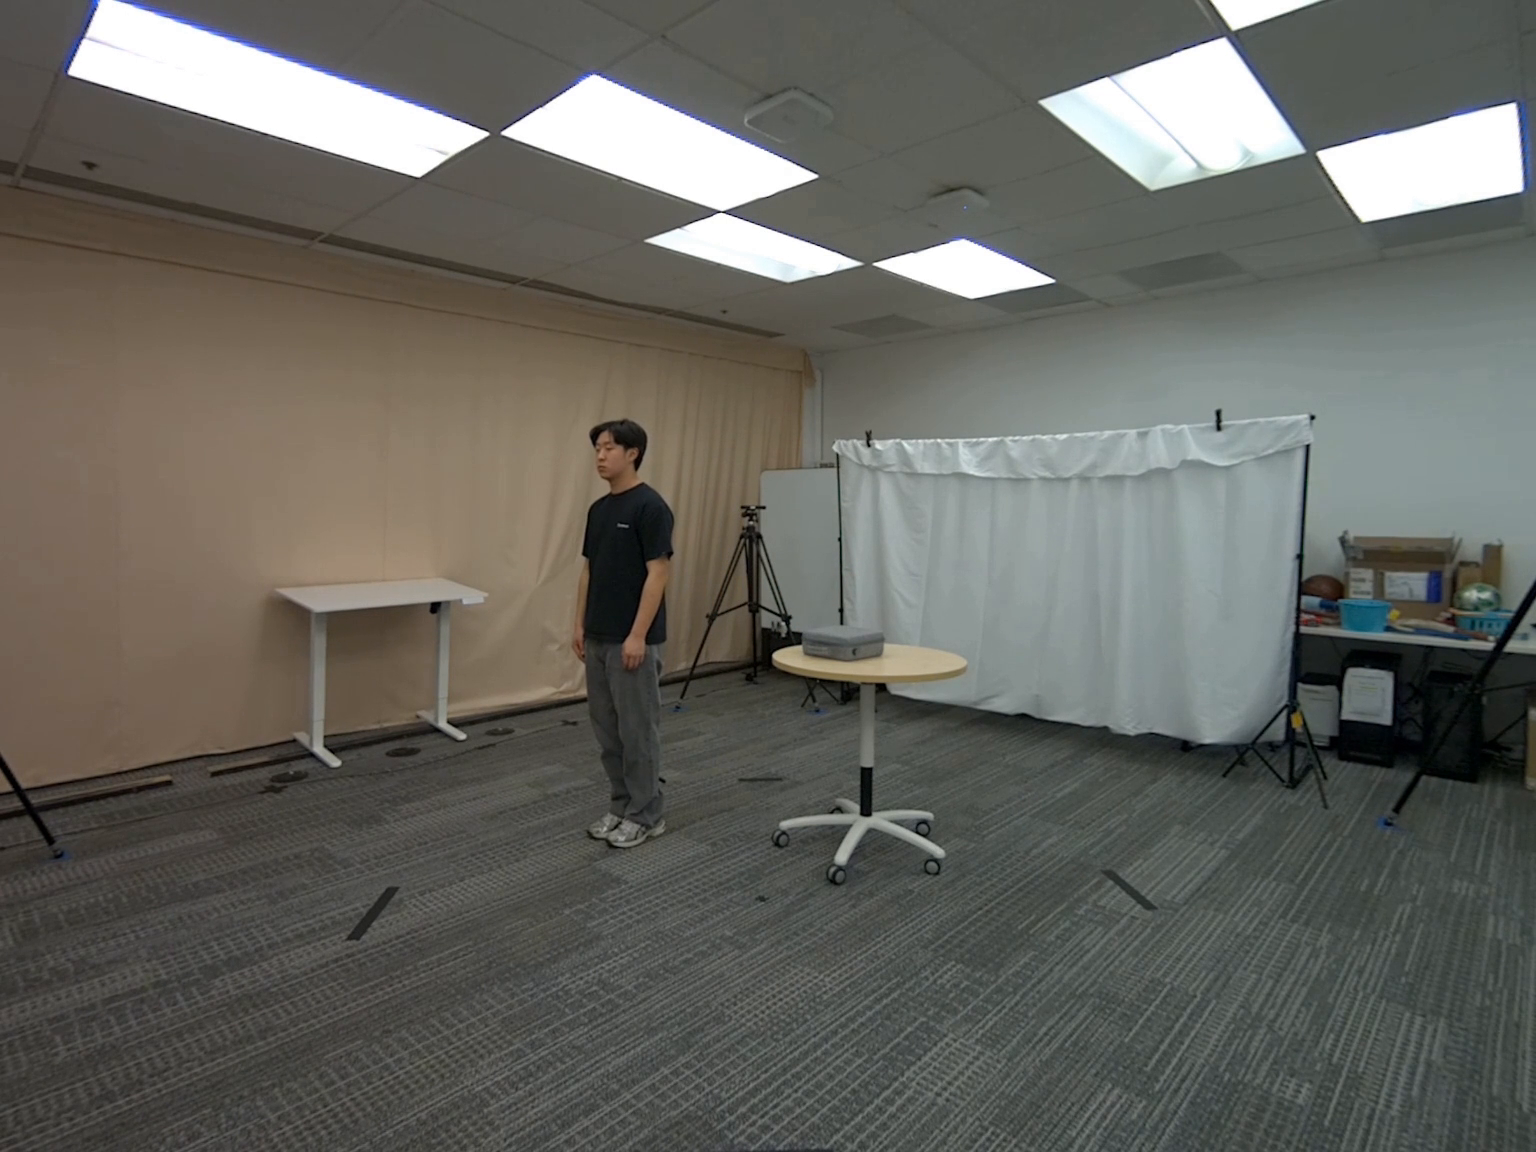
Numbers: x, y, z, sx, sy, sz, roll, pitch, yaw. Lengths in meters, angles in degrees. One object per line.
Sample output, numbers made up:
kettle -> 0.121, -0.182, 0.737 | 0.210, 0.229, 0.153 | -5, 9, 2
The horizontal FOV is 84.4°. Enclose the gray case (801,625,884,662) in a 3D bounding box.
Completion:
gray case -> 0.302, 0.269, 3.411 | 0.279, 0.103, 0.272 | -5, 6, -39
